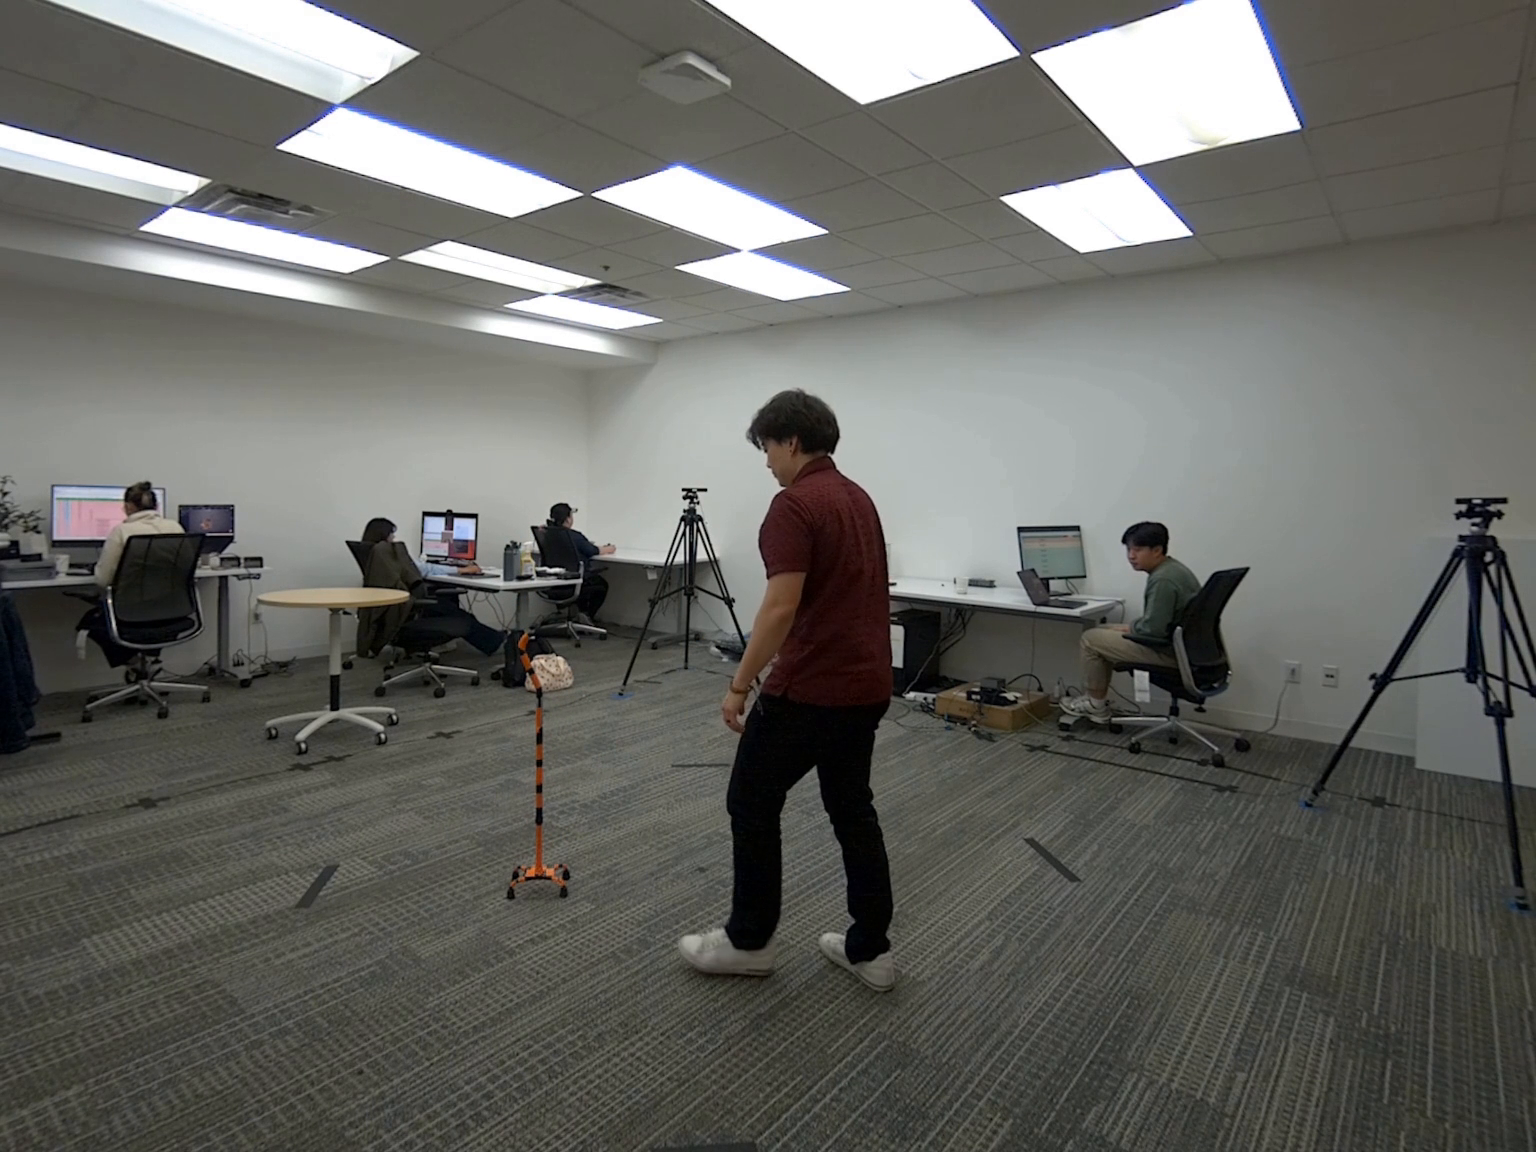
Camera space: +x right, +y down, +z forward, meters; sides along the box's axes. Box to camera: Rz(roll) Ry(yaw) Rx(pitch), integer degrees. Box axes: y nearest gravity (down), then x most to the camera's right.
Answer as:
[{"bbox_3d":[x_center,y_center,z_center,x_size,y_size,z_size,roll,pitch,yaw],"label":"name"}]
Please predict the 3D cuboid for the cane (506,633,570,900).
[{"bbox_3d":[-0.791,0.628,2.904,0.204,0.904,0.154,1,4,-9],"label":"cane"}]
